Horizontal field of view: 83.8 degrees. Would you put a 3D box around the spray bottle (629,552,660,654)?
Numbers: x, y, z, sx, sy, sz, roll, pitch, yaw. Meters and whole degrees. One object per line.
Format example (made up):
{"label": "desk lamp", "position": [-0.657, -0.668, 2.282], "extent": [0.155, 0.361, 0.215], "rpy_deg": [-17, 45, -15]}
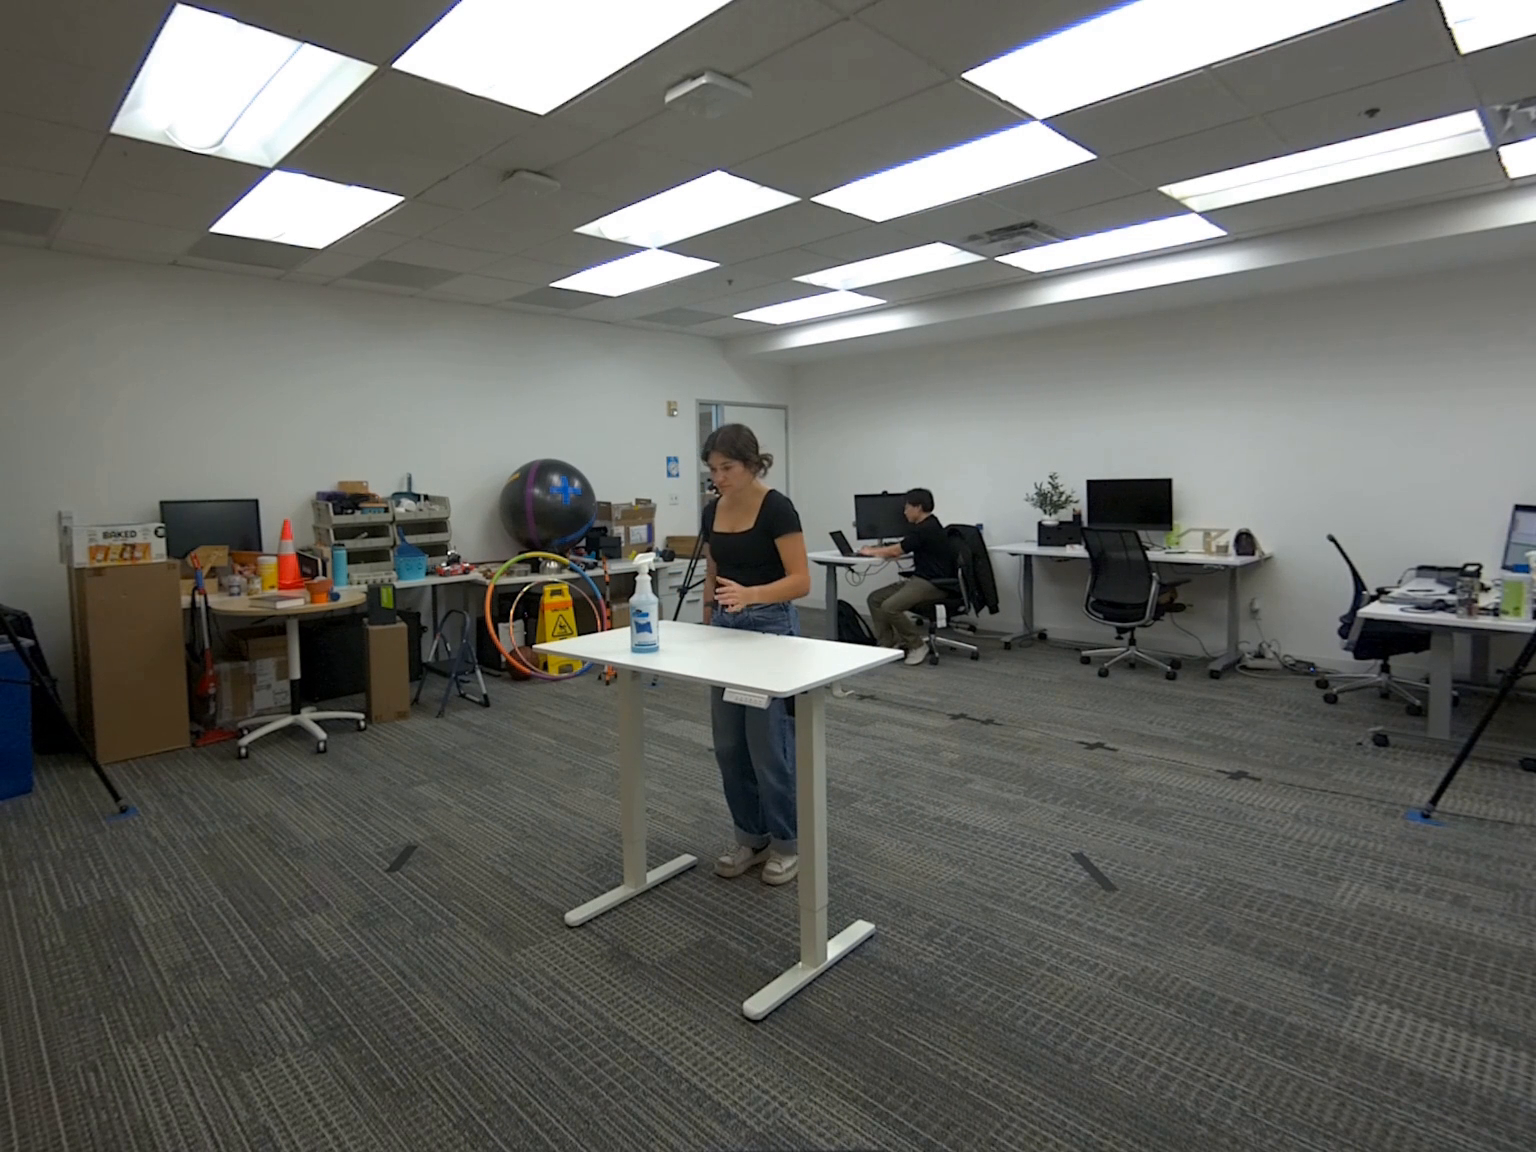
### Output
{"label": "spray bottle", "position": [-0.376, 0.083, 2.590], "extent": [0.088, 0.296, 0.089], "rpy_deg": [-1, 3, -28]}
